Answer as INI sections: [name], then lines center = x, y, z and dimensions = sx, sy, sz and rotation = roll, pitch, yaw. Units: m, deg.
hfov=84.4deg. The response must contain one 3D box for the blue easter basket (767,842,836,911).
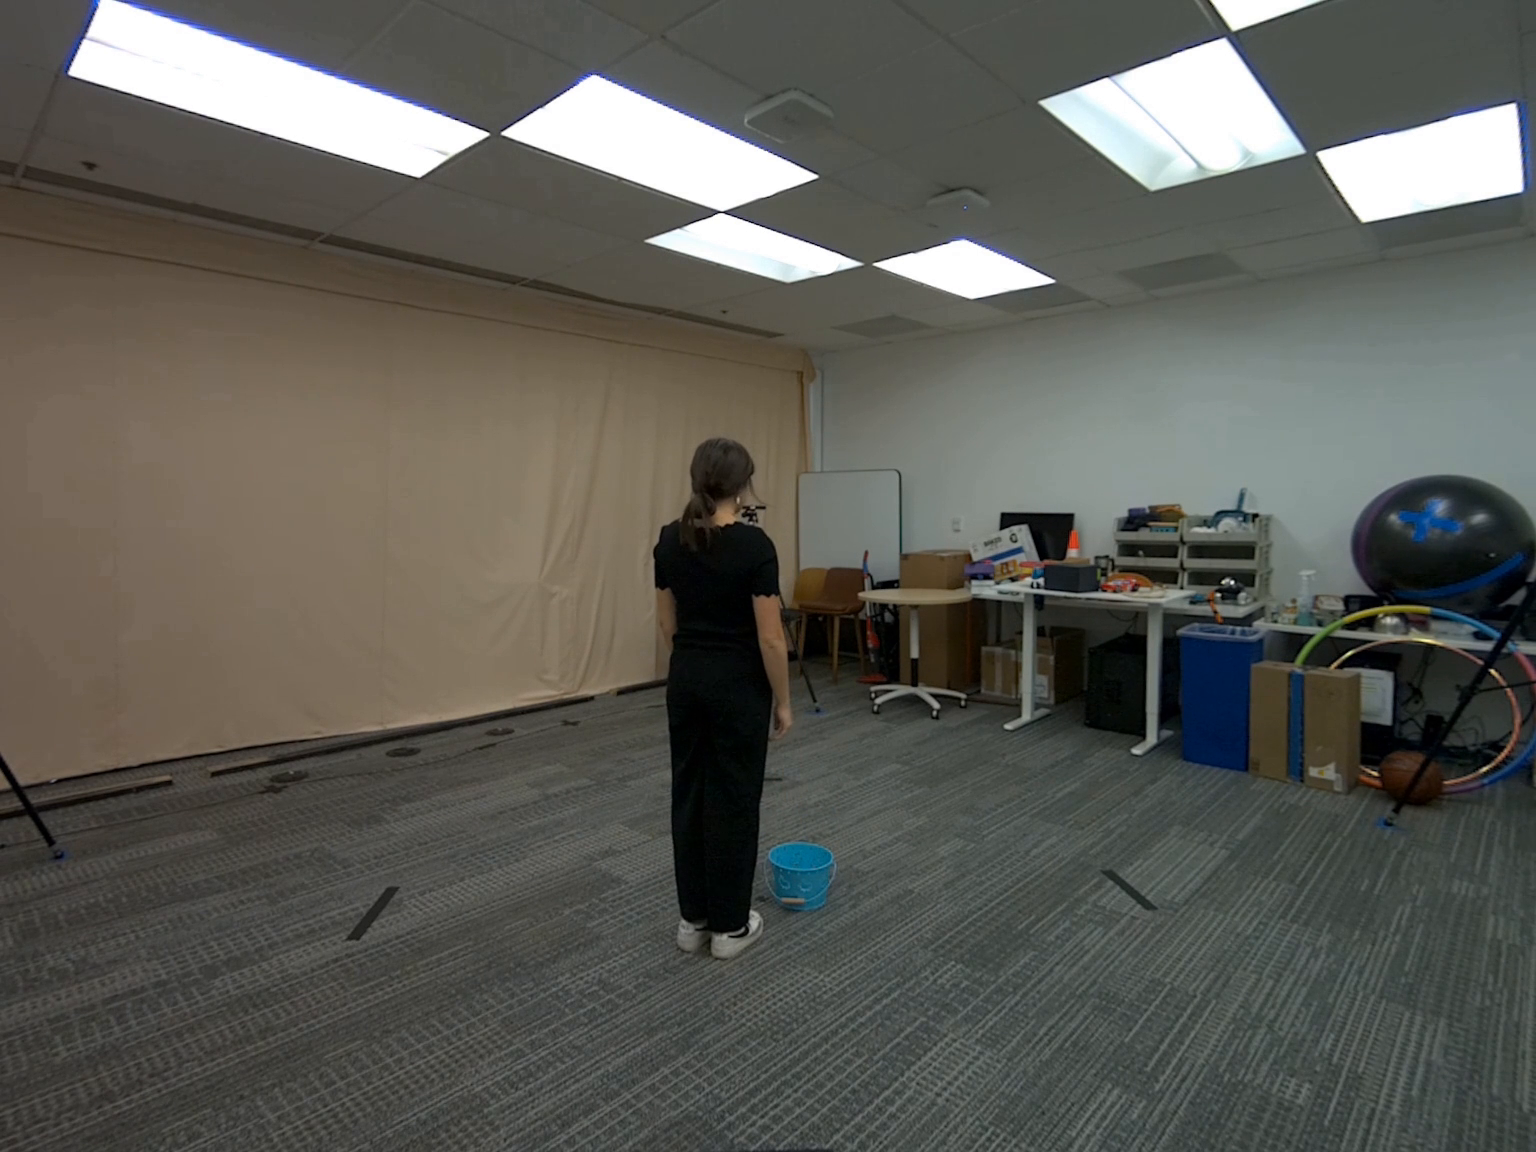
[blue easter basket]
center = 0.115, 1.065, 2.981
dimensions = 0.243, 0.155, 0.244
rotation = 1, 5, -2
